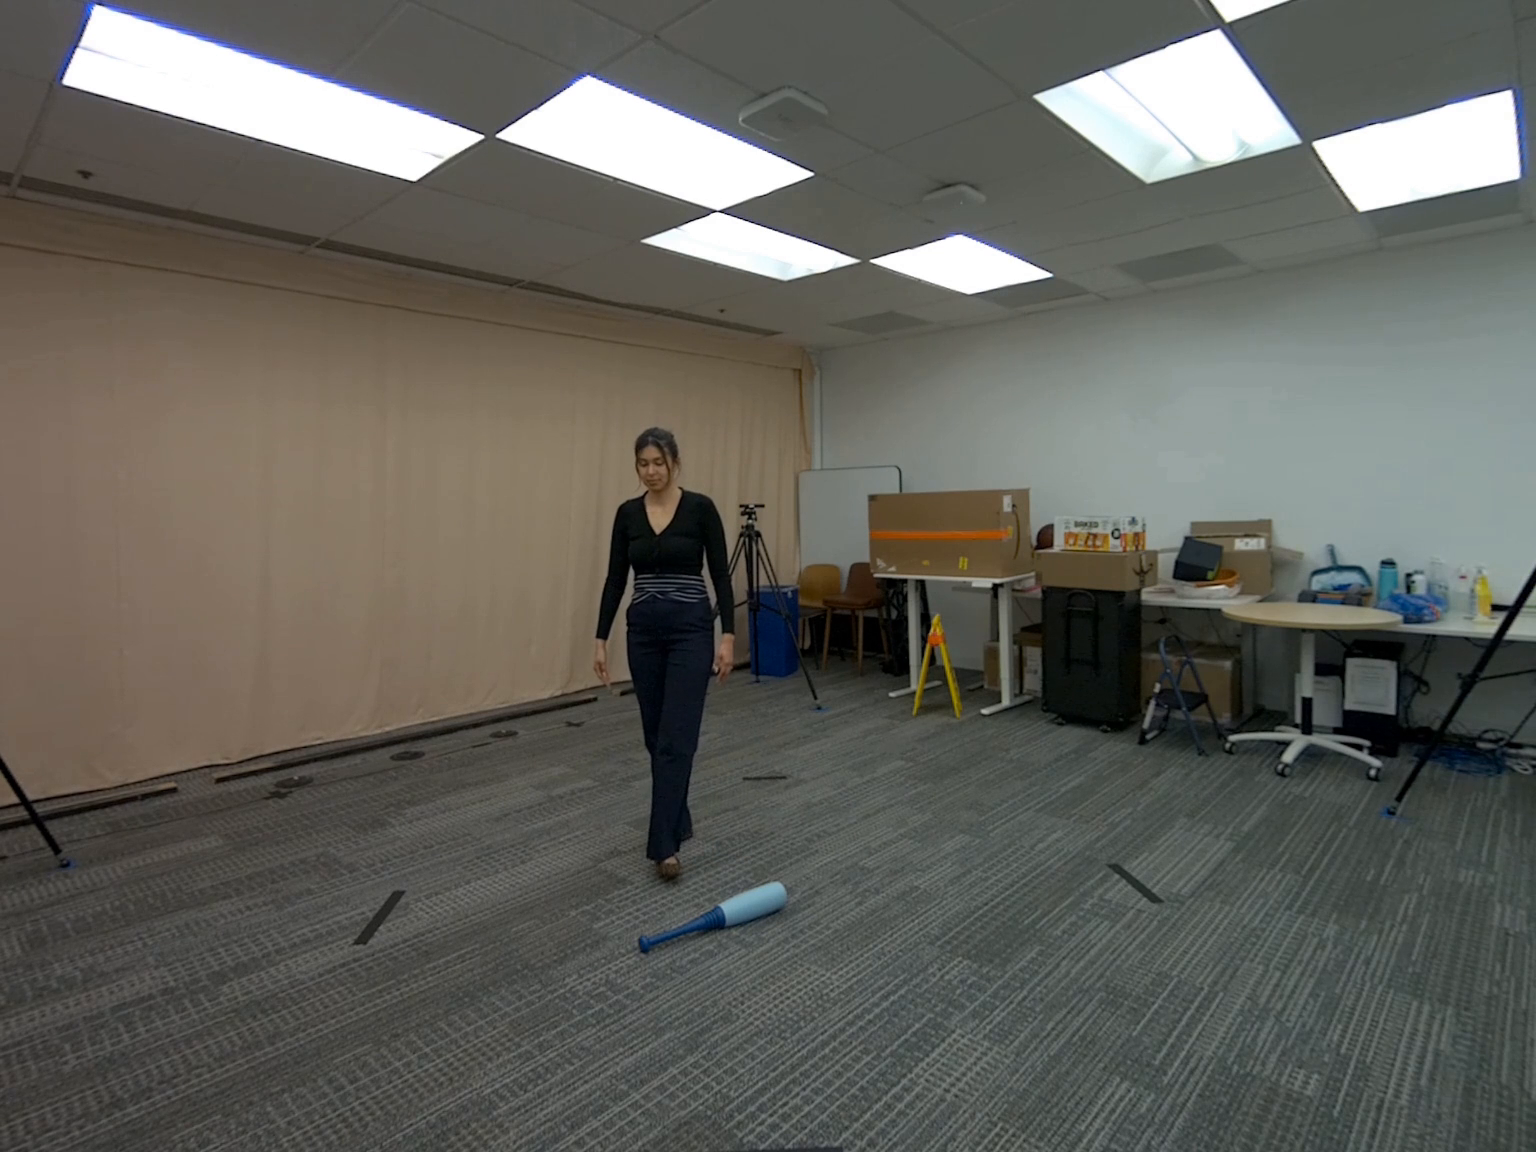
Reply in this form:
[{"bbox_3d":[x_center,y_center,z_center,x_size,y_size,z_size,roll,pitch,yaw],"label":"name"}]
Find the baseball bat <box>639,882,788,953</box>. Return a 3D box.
[{"bbox_3d":[-0.168,1.126,2.764,0.529,0.089,0.092,-8,7,-30],"label":"baseball bat"}]
